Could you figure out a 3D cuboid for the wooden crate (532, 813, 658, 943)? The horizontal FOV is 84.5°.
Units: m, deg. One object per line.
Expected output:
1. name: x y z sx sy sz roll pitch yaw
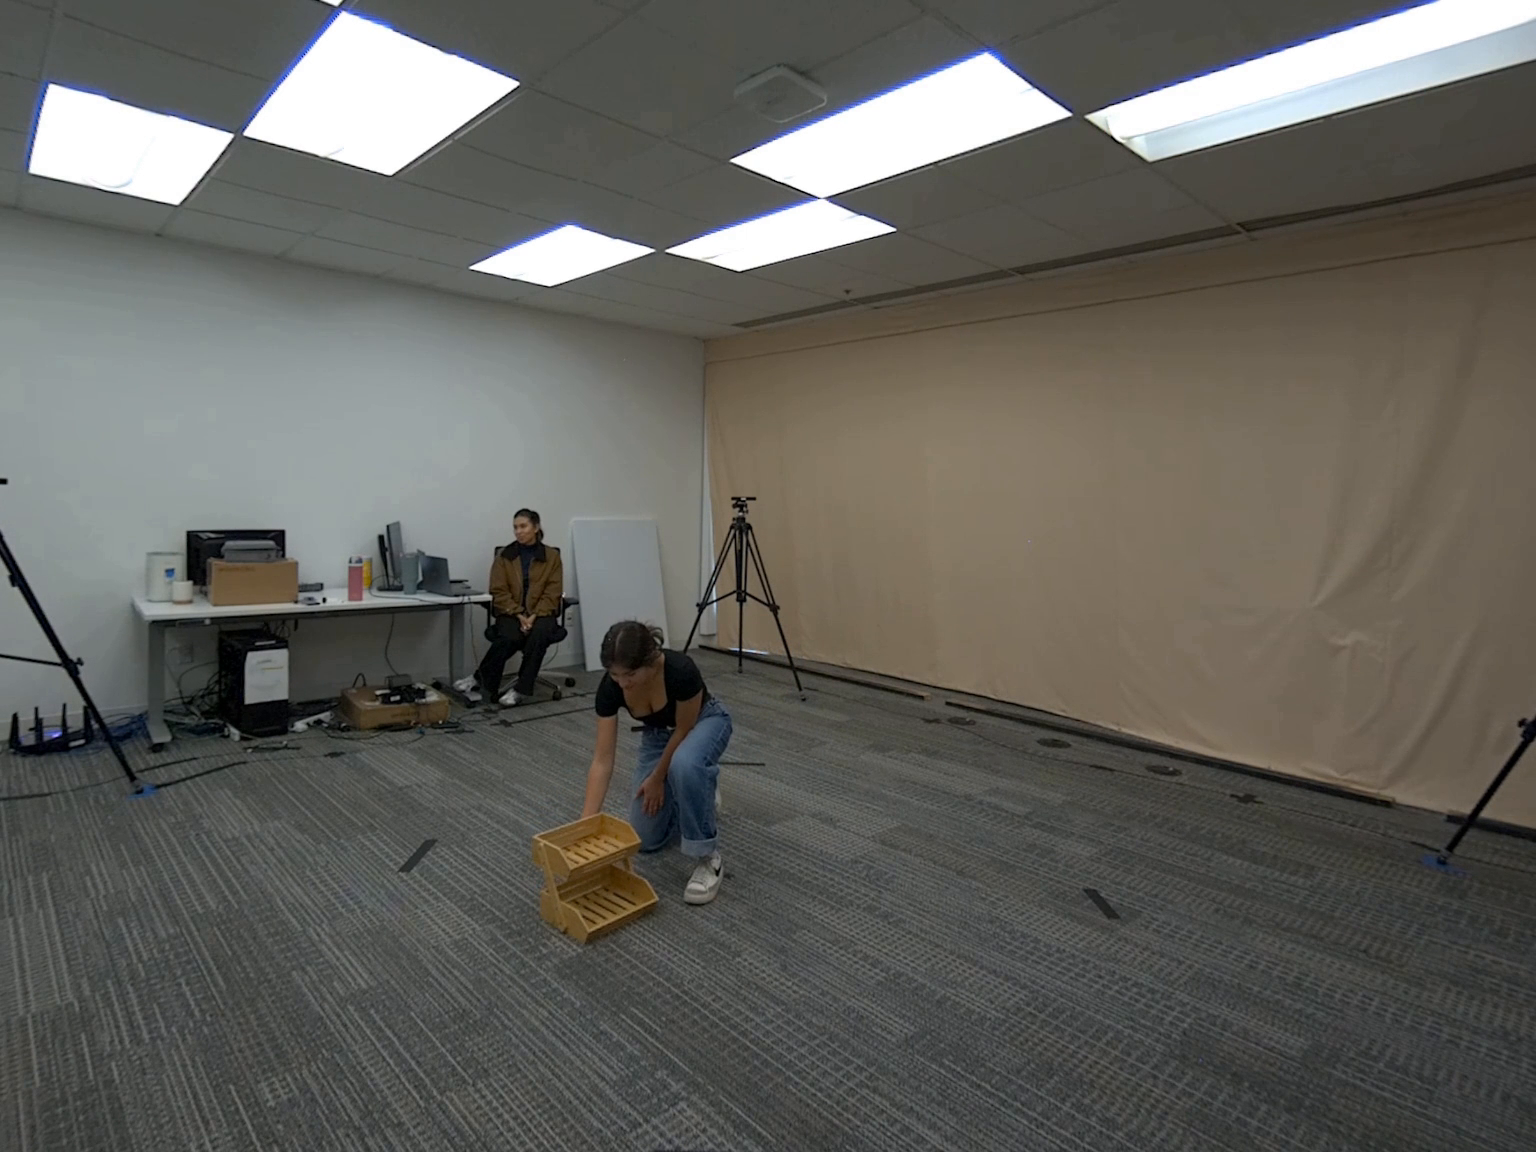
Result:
1. wooden crate: -0.579 0.996 2.789 0.309 0.272 0.317 4 5 40
